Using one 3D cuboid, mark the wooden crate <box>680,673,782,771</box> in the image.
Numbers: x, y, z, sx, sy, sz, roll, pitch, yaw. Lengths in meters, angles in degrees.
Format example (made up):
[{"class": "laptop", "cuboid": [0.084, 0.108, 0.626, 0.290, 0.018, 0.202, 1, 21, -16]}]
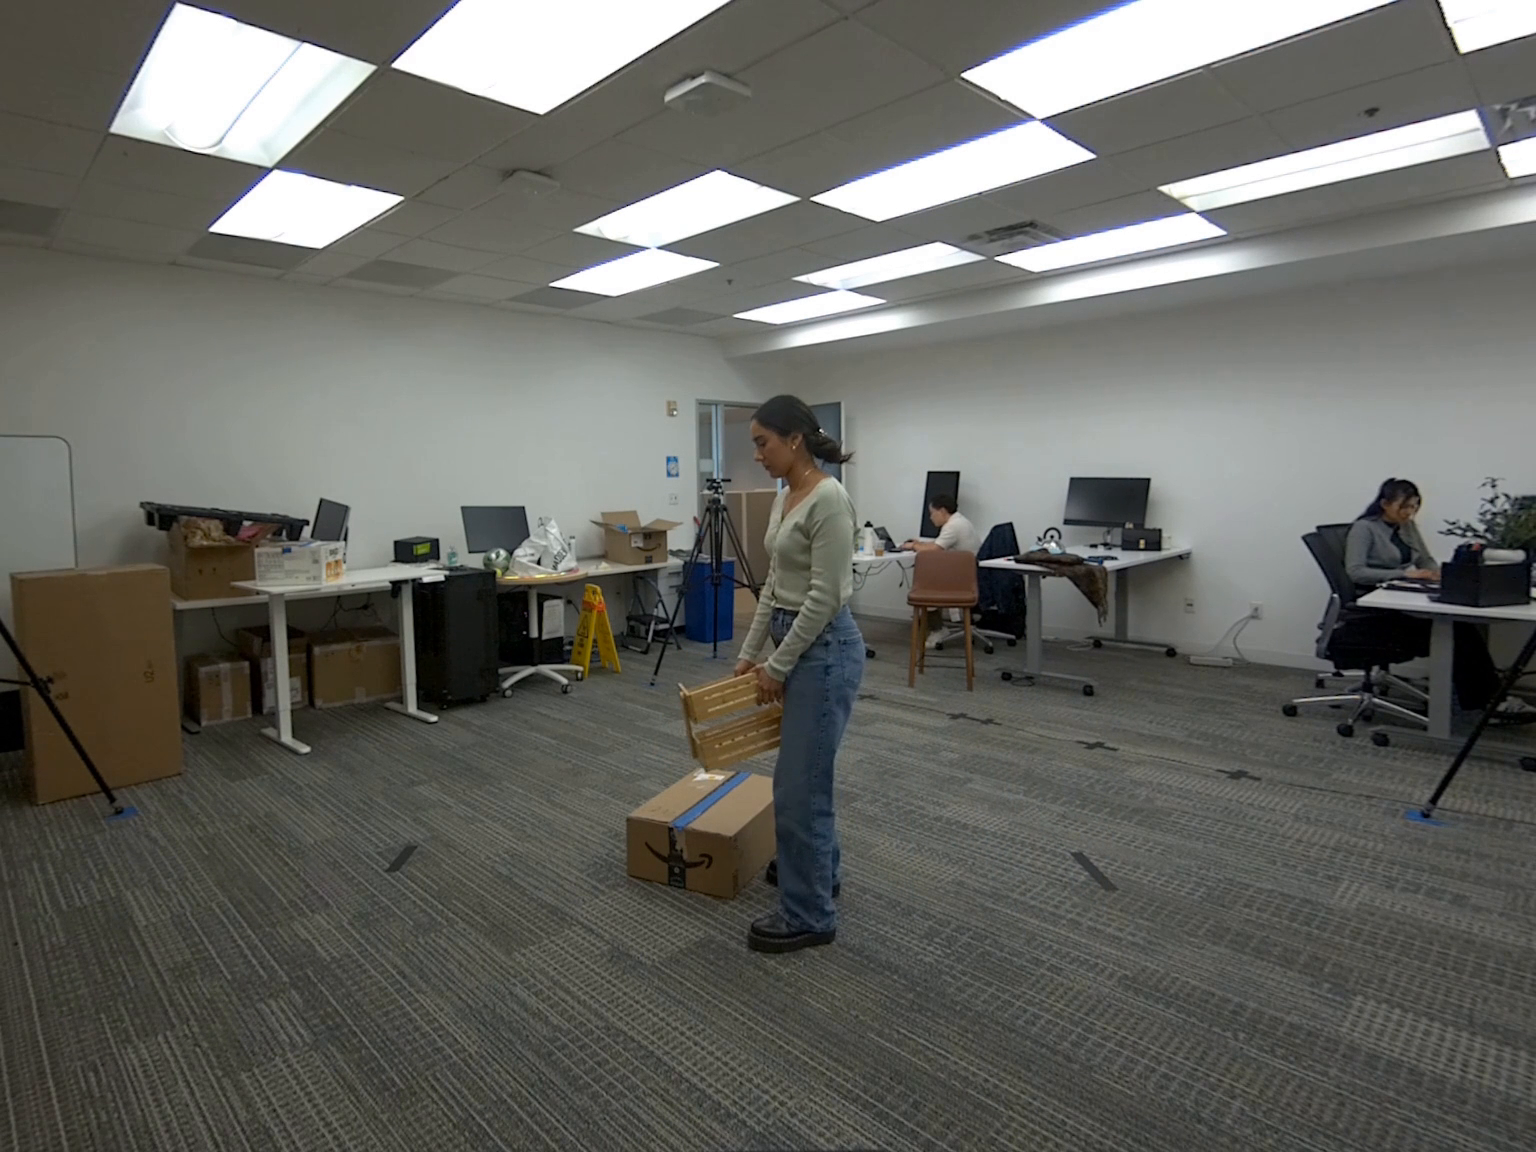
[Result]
[{"class": "wooden crate", "cuboid": [-0.107, 0.414, 2.674, 0.321, 0.271, 0.307, -16, 8, -15]}]
